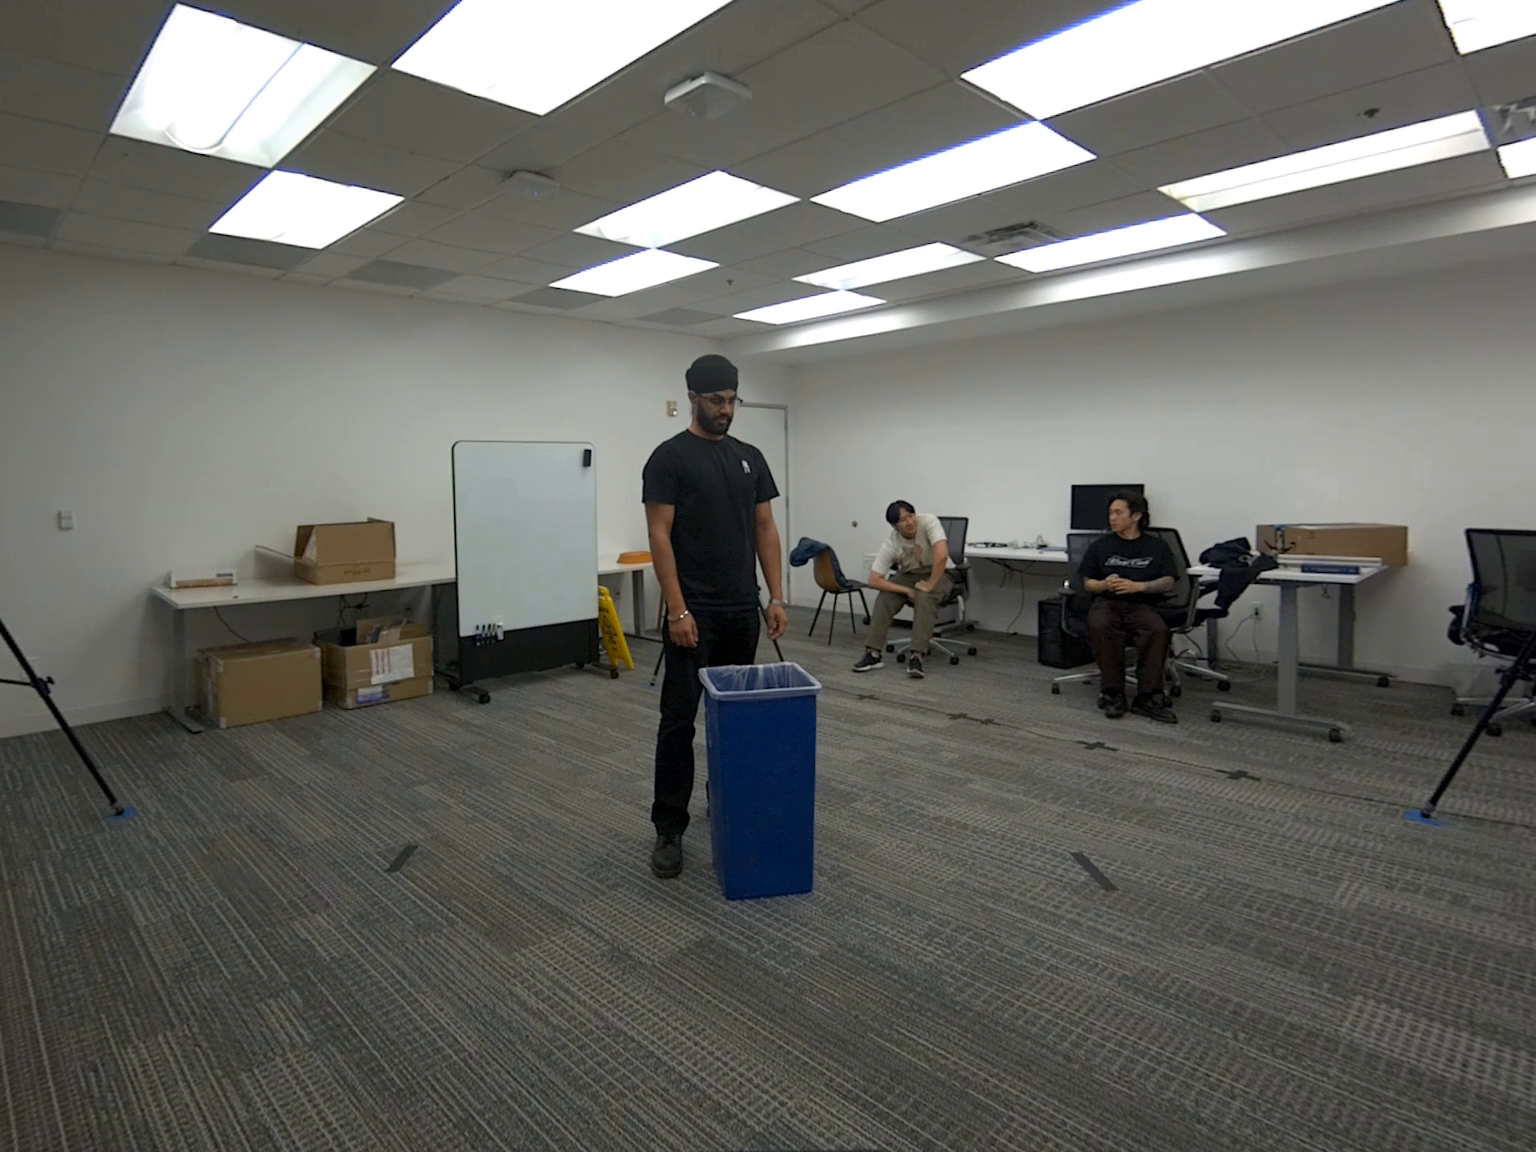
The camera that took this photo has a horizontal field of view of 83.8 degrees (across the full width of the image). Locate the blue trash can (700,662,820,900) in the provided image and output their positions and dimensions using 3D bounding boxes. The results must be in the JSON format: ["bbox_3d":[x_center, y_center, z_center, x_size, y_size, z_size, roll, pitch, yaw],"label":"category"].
[{"bbox_3d":[-0.036,0.698,2.981,0.374,0.710,0.379,-2,5,-11],"label":"blue trash can"}]
